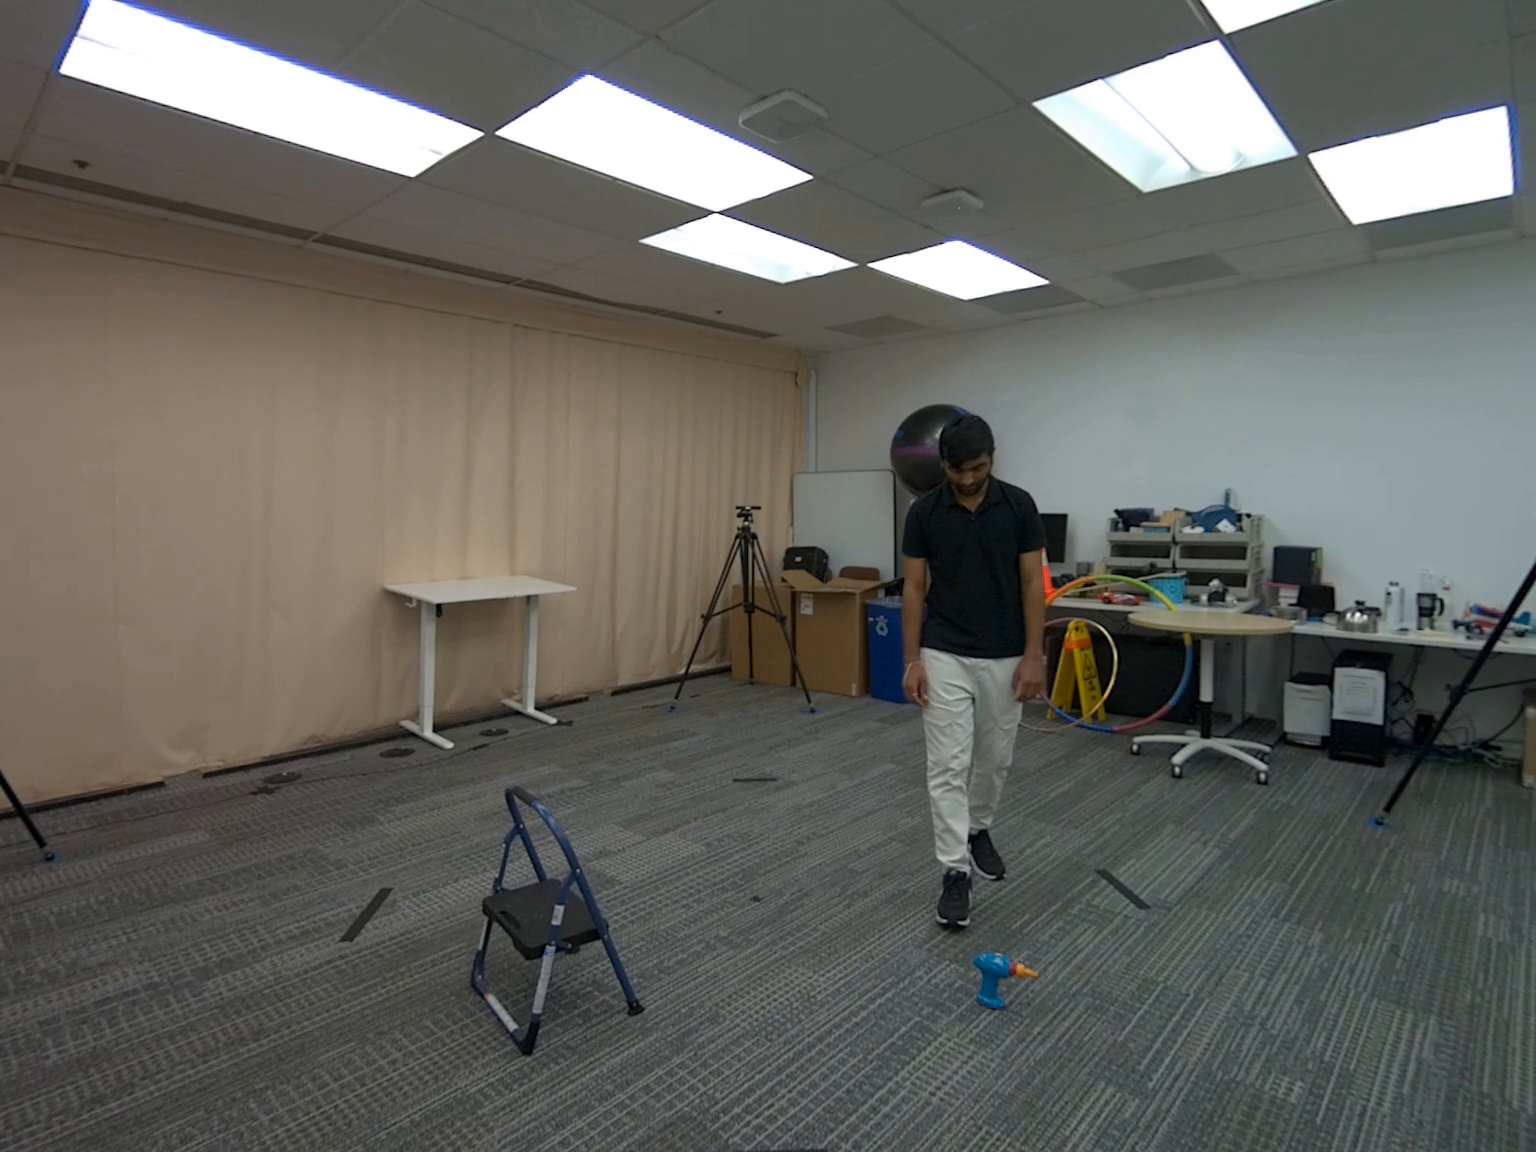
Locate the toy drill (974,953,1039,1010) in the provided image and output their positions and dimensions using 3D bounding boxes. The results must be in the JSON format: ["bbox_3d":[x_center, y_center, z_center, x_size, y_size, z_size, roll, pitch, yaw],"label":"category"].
[{"bbox_3d":[0.666,1.124,2.335,0.173,0.146,0.060,1,2,20],"label":"toy drill"}]
